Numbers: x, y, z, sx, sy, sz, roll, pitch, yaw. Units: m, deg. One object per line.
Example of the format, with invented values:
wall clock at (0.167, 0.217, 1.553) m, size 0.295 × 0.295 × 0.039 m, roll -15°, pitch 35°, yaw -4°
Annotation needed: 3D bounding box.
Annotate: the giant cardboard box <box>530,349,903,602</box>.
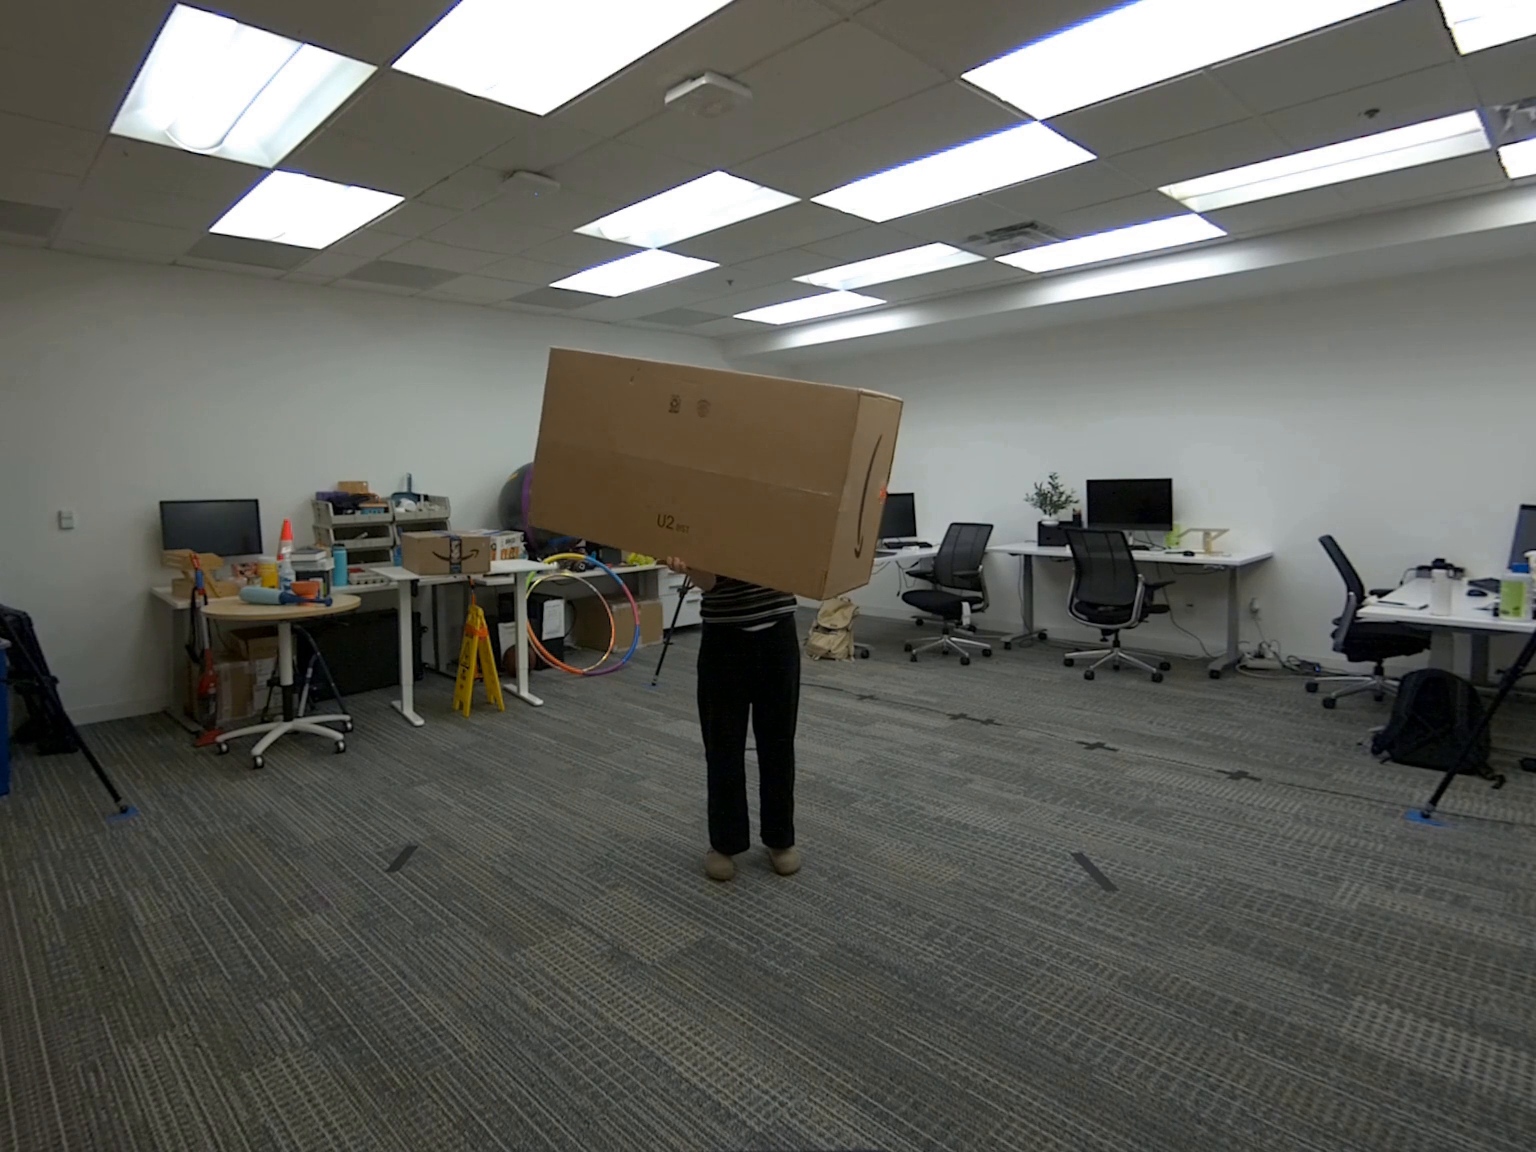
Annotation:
giant cardboard box at (-0.183, -0.345, 2.658) m, size 1.053 × 0.573 × 0.418 m, roll 14°, pitch 10°, yaw 25°
